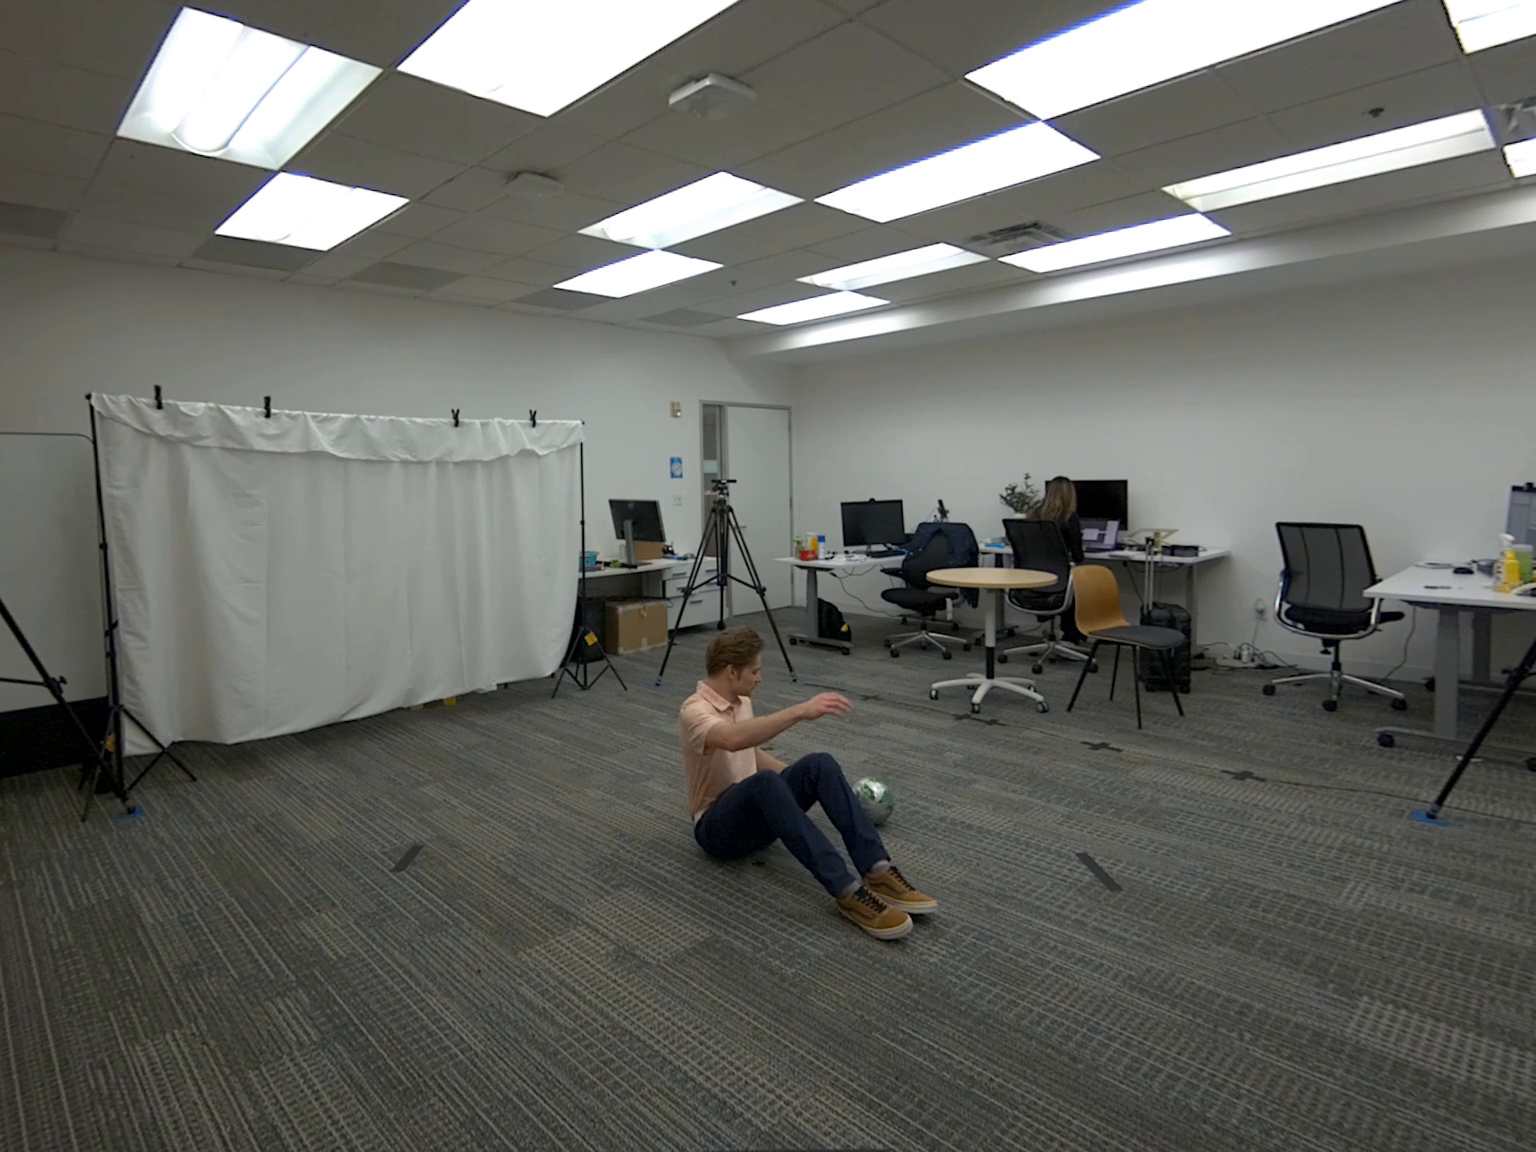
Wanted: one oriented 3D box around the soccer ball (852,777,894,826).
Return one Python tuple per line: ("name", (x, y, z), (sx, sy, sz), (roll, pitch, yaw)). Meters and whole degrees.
("soccer ball", (0.413, 0.903, 3.445), (0.187, 0.187, 0.188), (-1, 5, -2))
